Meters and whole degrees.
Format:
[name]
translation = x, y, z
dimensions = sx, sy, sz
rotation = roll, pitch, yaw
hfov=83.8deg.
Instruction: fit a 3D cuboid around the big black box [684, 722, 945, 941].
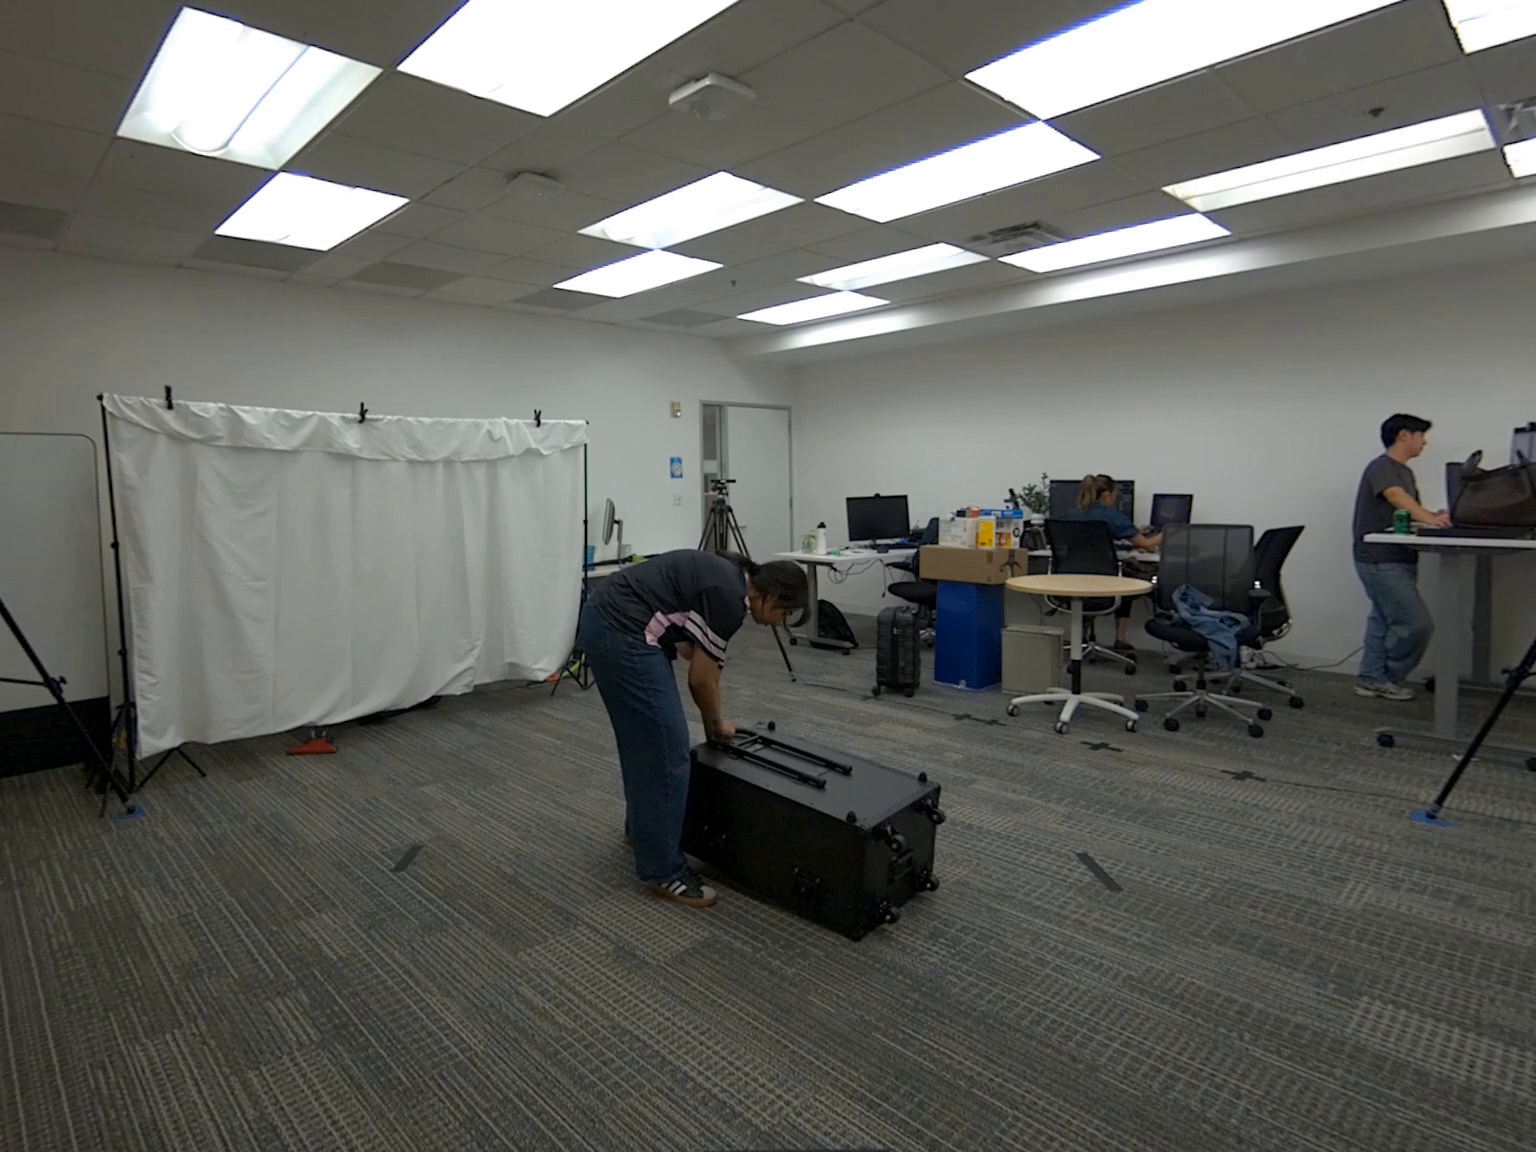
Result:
[big black box]
translation = 0.161, 0.844, 2.959
dimensions = 0.897, 0.383, 0.509
rotation = 11, 10, 39
